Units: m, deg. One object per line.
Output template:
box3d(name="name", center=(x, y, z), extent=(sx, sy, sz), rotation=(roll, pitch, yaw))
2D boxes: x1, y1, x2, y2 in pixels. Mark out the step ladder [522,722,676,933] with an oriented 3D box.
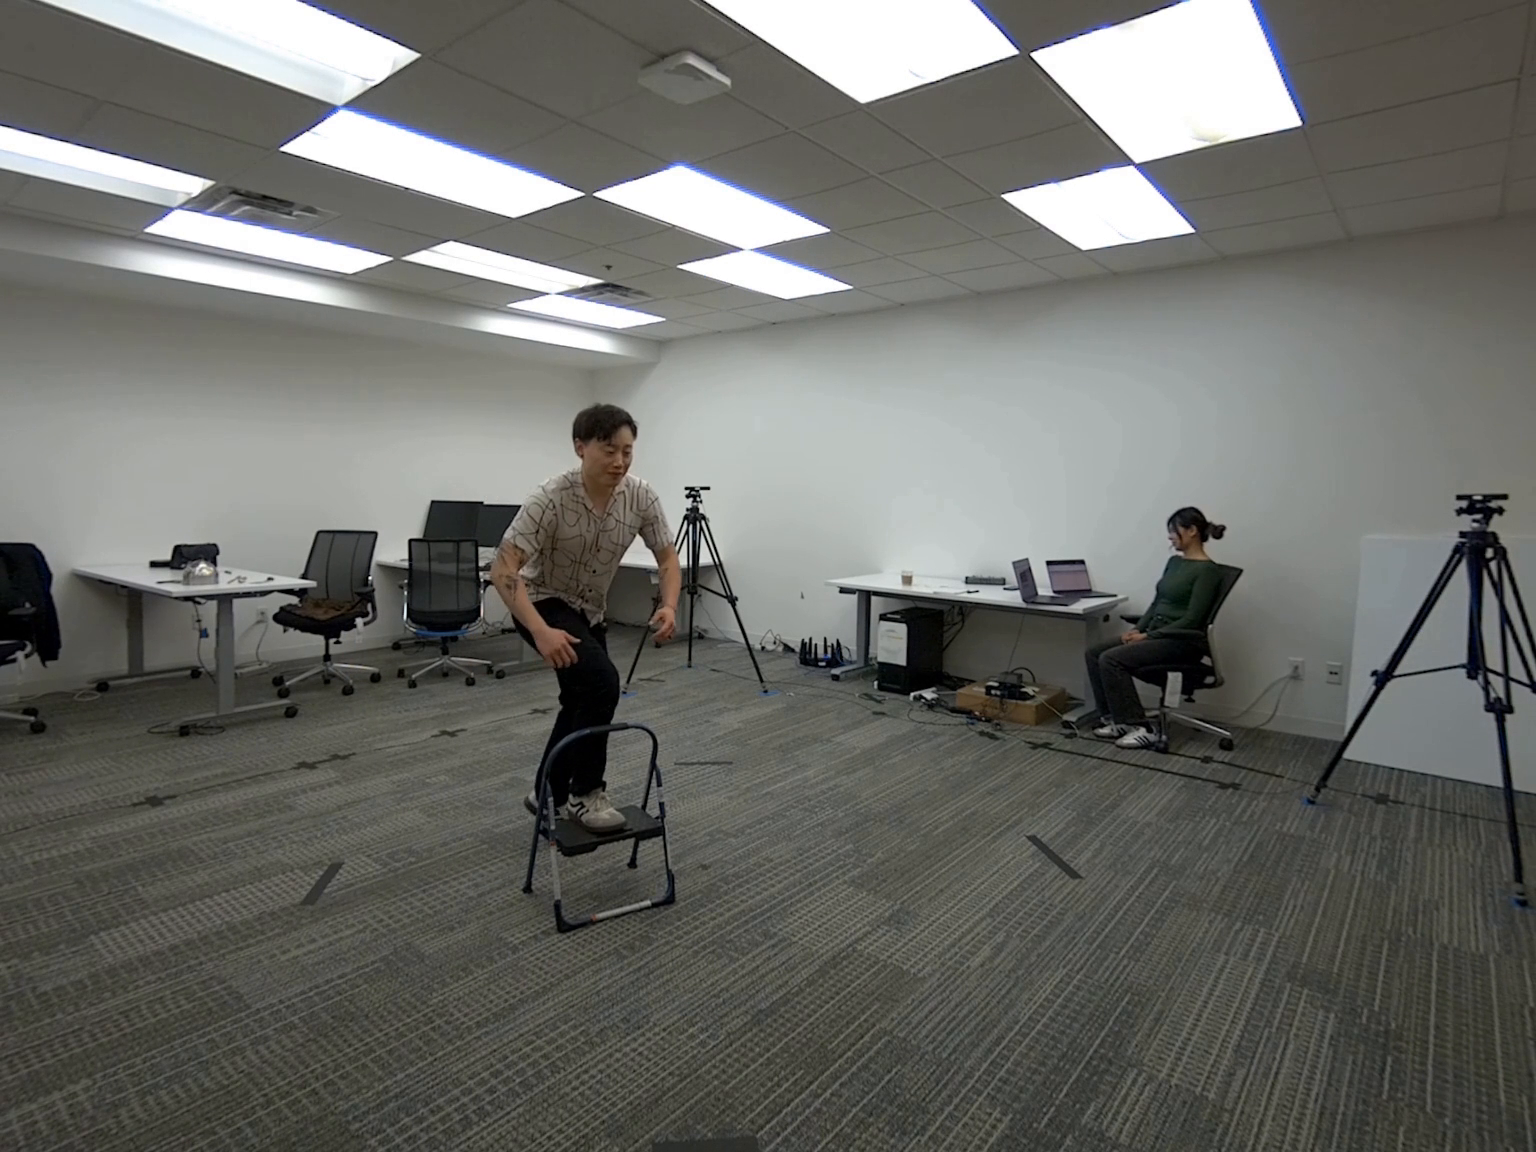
box3d(name="step ladder", center=(-0.578, 0.781, 2.869), extent=(0.418, 0.604, 0.360), rotation=(-2, 4, -34))
